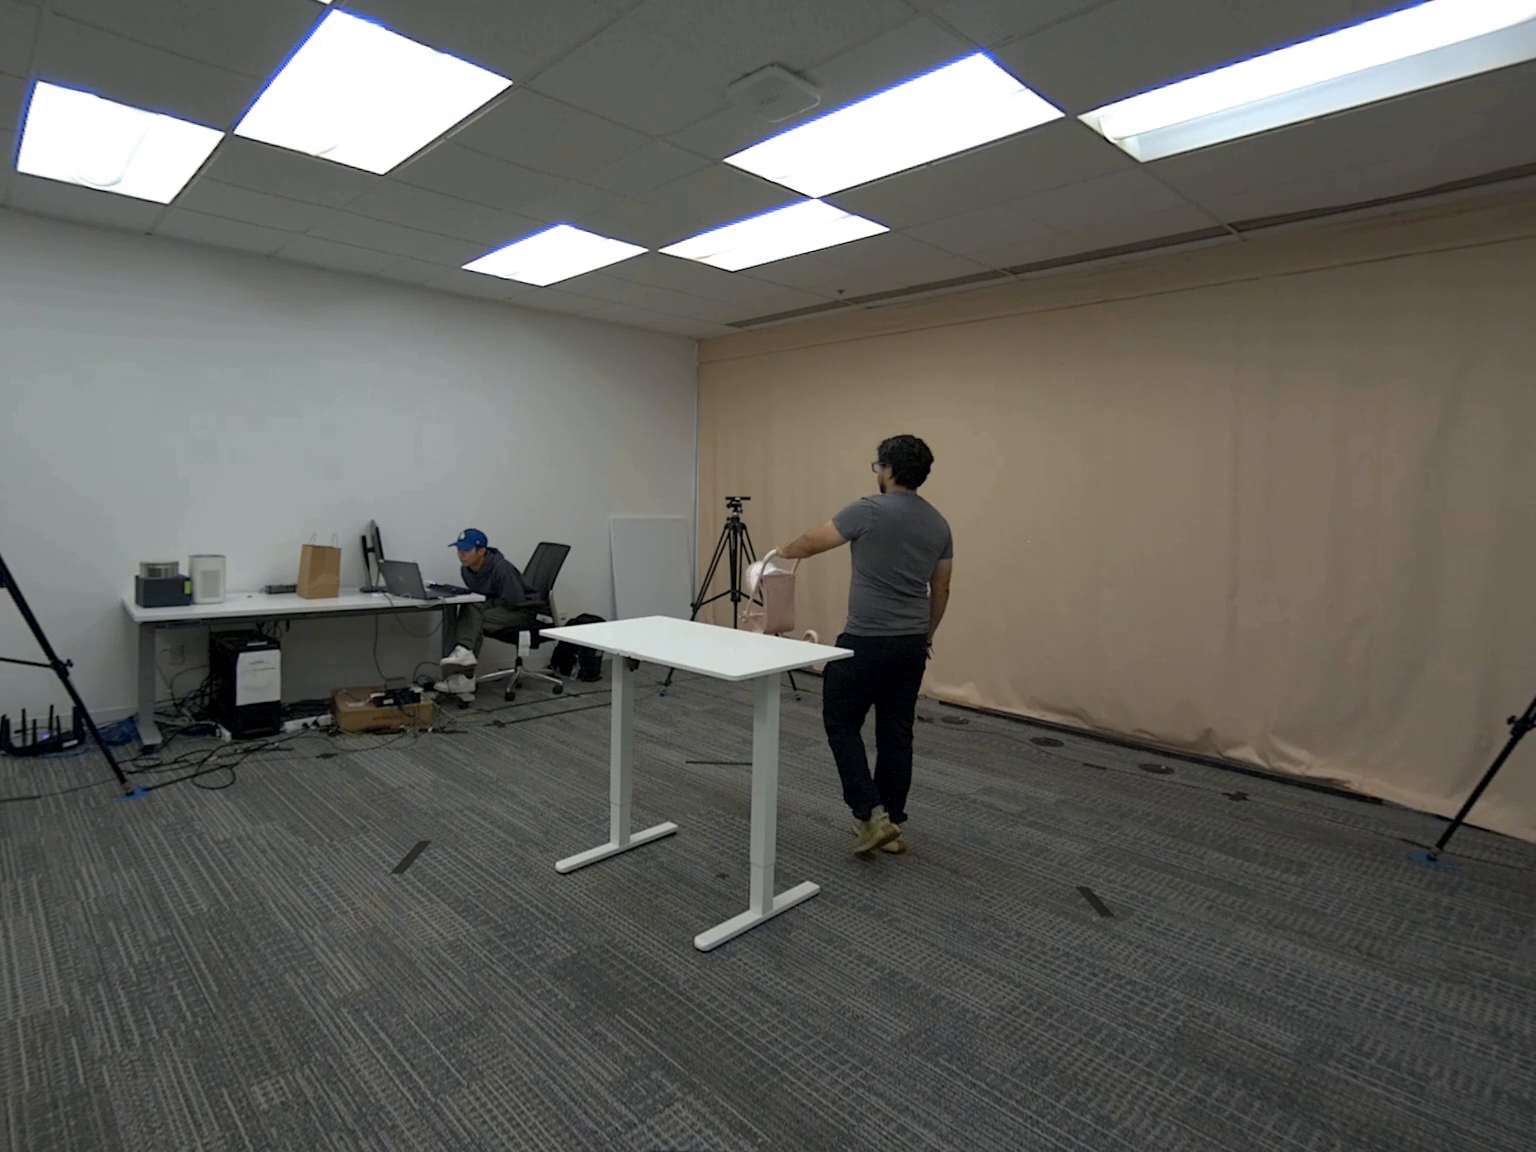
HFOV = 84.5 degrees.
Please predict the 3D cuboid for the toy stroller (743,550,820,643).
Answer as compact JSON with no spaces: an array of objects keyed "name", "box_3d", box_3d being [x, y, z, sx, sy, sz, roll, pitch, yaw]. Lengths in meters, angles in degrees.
[{"name":"toy stroller","box_3d":[0.015,0.165,3.804,0.276,0.537,0.347,-4,-5,-33]}]
